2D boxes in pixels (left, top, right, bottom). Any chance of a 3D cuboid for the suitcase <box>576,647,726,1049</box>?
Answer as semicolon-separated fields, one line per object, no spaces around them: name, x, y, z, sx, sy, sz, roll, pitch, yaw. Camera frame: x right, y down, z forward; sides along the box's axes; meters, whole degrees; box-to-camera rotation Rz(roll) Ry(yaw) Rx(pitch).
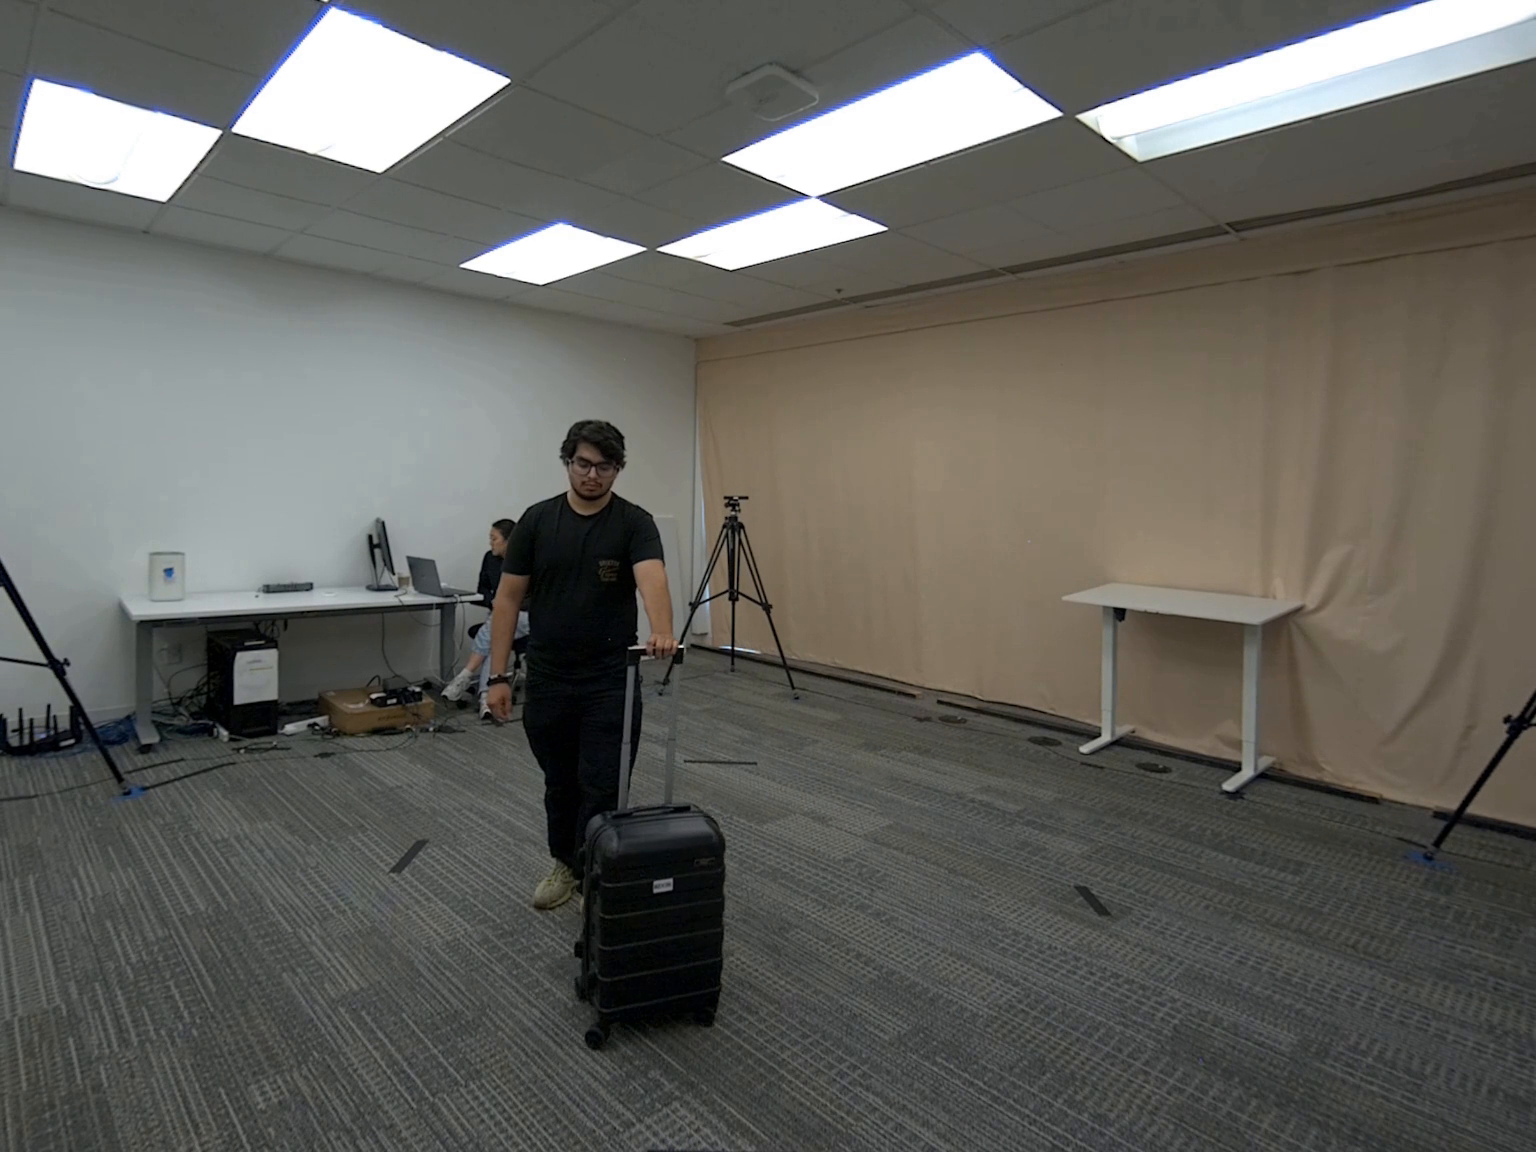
suitcase;-0.296;0.705;2.226;0.378;0.974;0.262;2;6;-20
